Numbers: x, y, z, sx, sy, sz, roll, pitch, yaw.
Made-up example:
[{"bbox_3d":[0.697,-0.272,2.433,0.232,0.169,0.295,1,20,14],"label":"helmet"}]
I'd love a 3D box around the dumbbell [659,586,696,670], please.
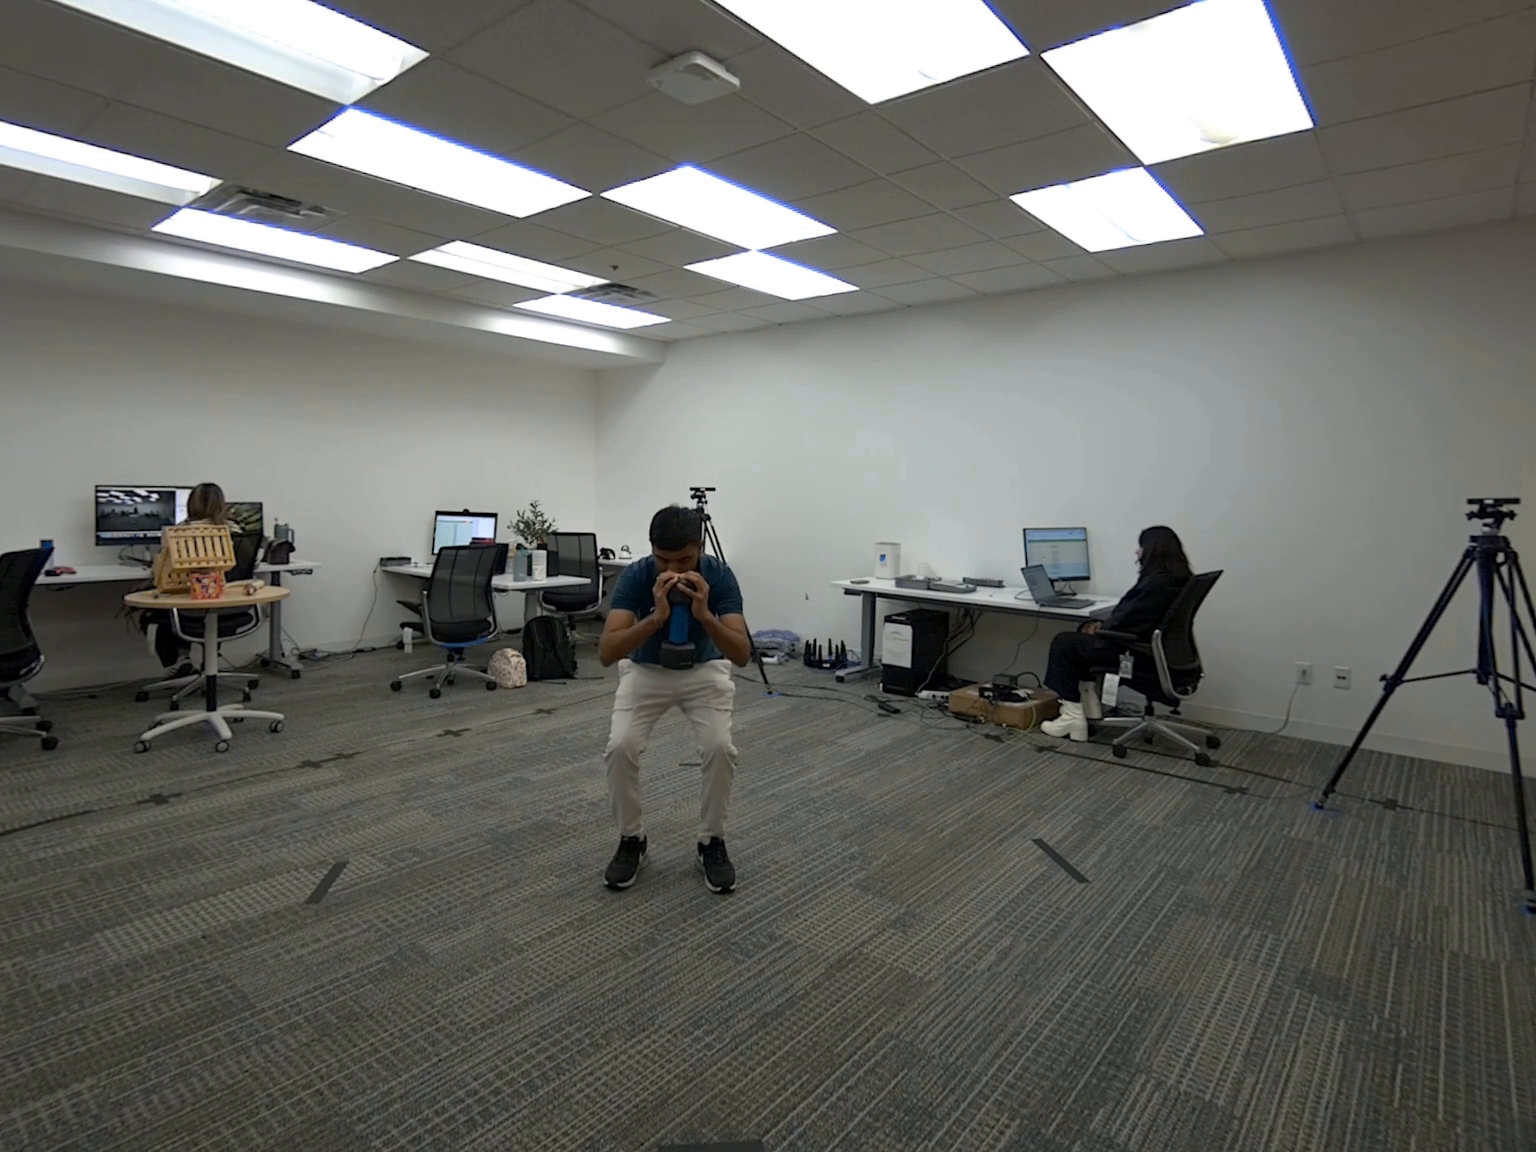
[{"bbox_3d":[-0.296,0.146,2.732,0.108,0.293,0.124,2,2,-8],"label":"dumbbell"}]
